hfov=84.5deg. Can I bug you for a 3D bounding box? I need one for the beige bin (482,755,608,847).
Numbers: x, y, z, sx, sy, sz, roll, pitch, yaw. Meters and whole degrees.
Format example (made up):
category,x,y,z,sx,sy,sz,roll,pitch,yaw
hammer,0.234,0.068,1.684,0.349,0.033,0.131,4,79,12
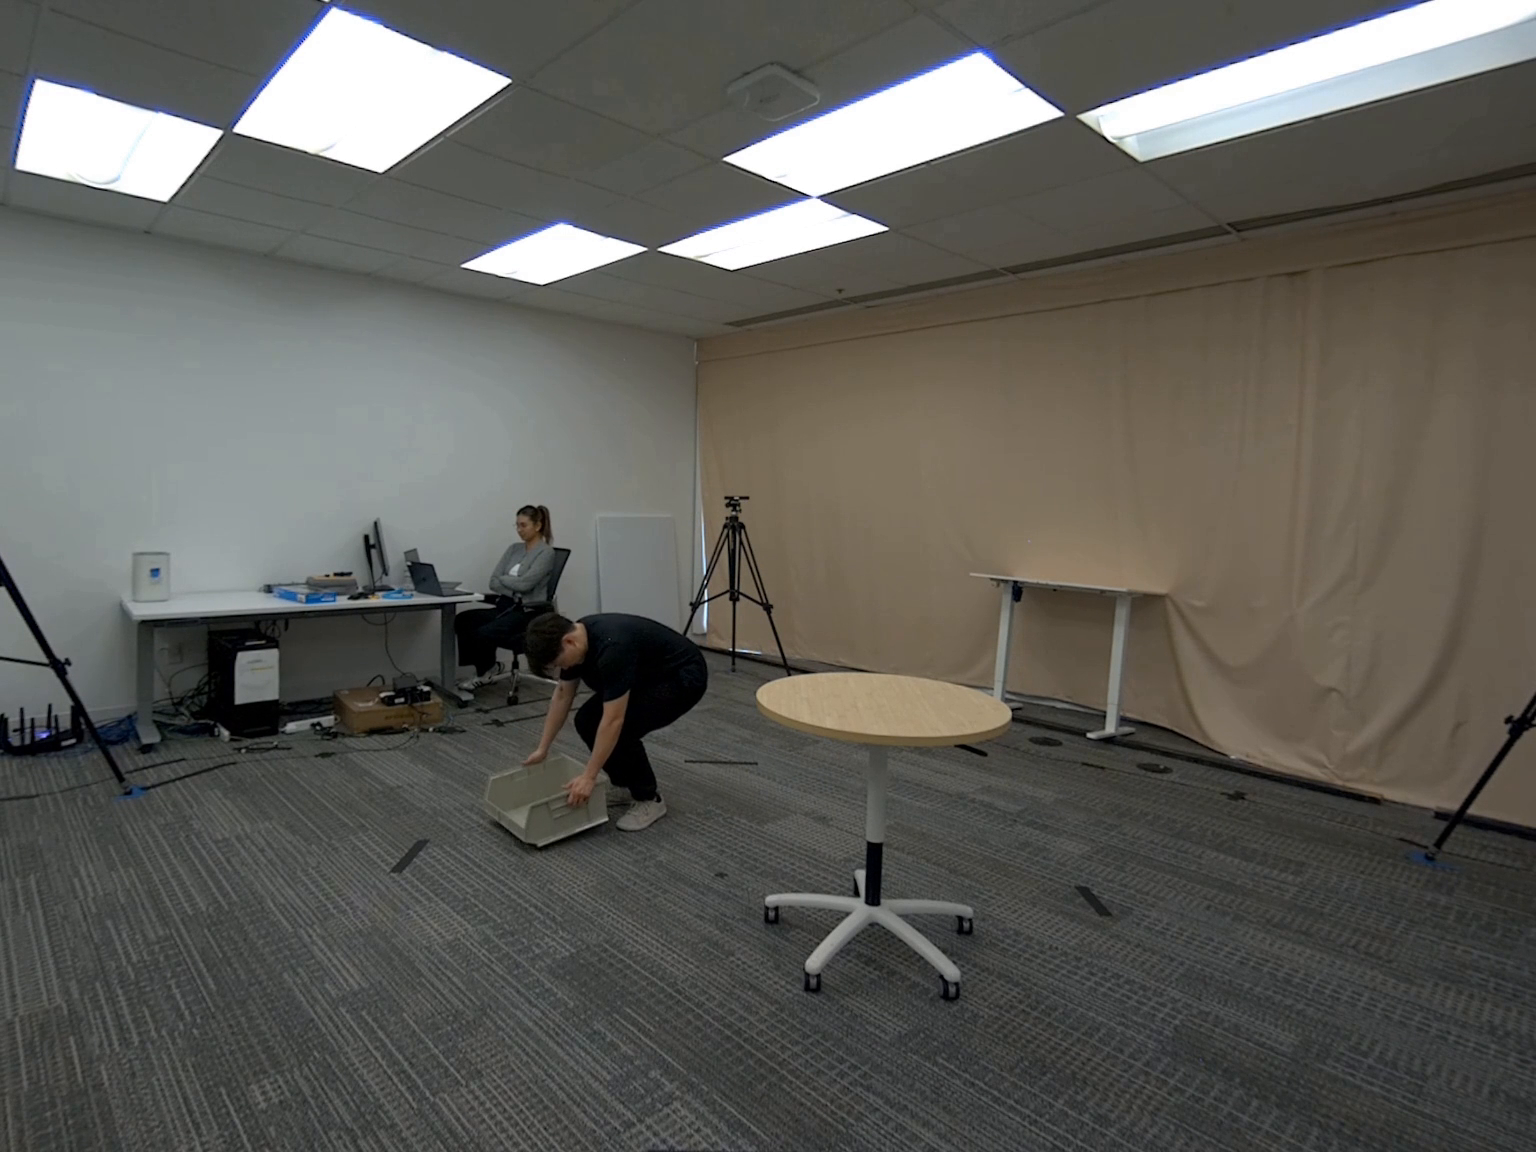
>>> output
category,x,y,z,sx,sy,sz,roll,pitch,yaw
beige bin,-0.928,0.917,3.479,0.370,0.188,0.433,-10,9,-38
